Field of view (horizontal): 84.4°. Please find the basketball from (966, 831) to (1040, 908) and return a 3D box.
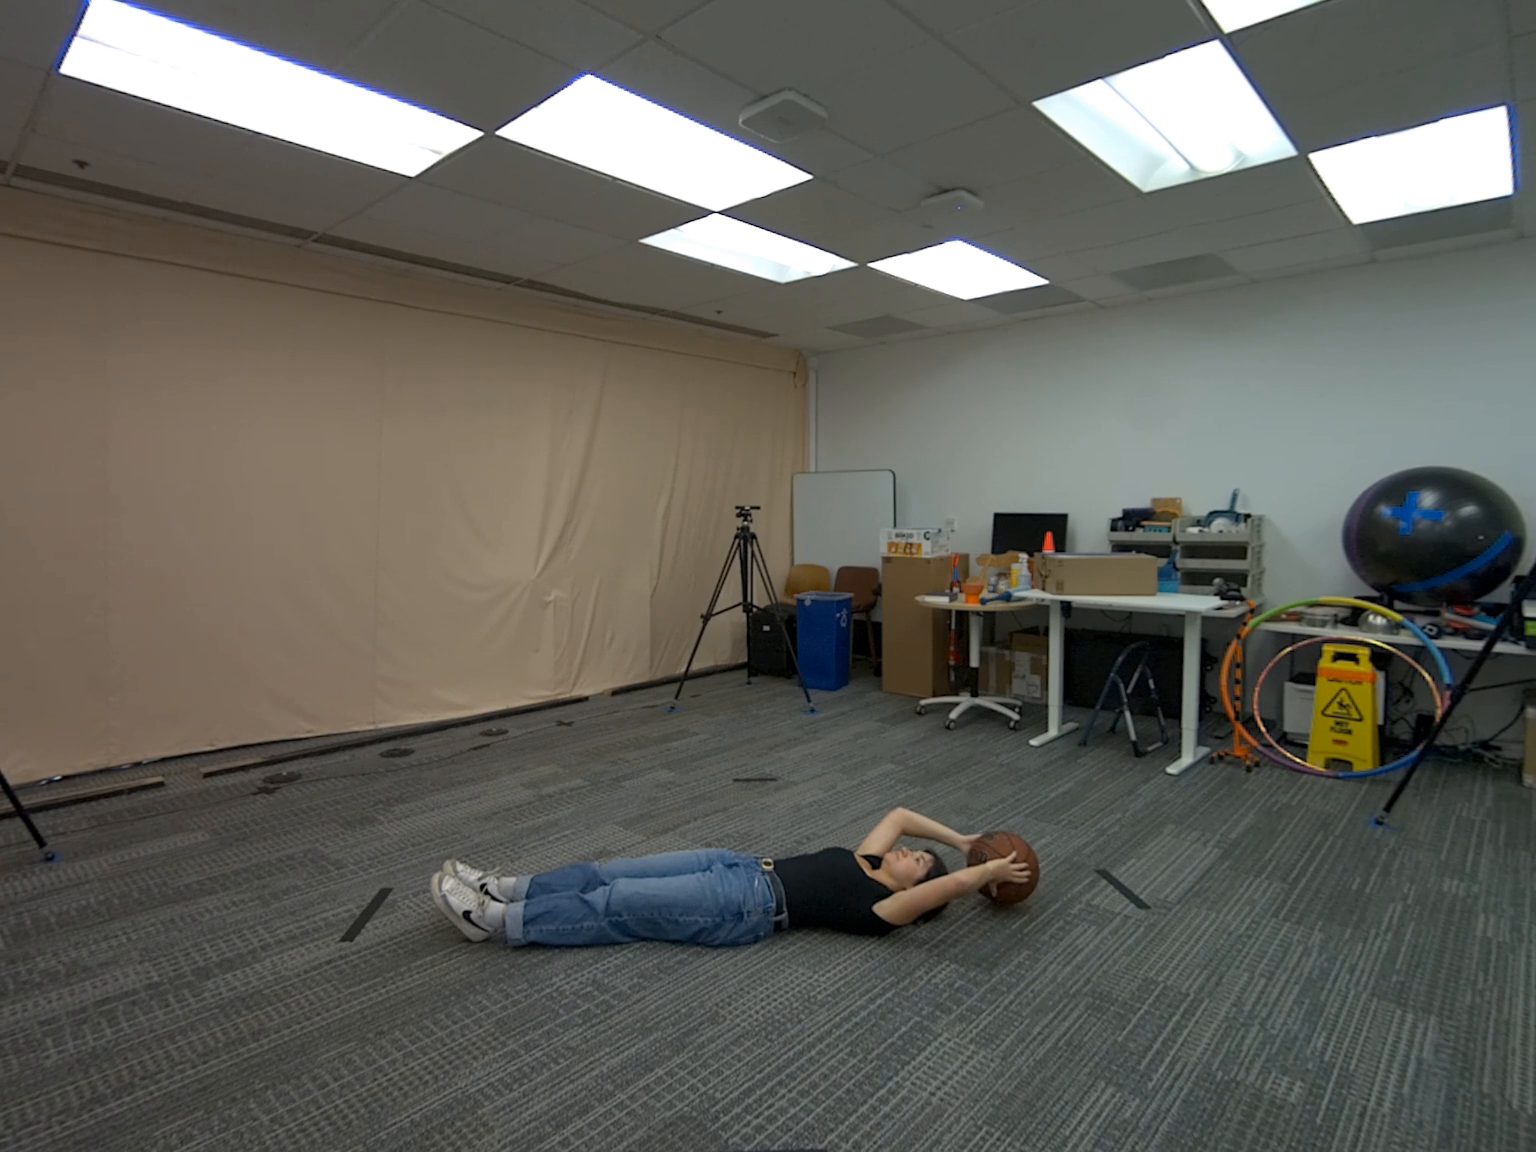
[{"bbox_3d":[0.818,1.001,2.912,0.236,0.235,0.237,0,4,-2],"label":"basketball"}]
